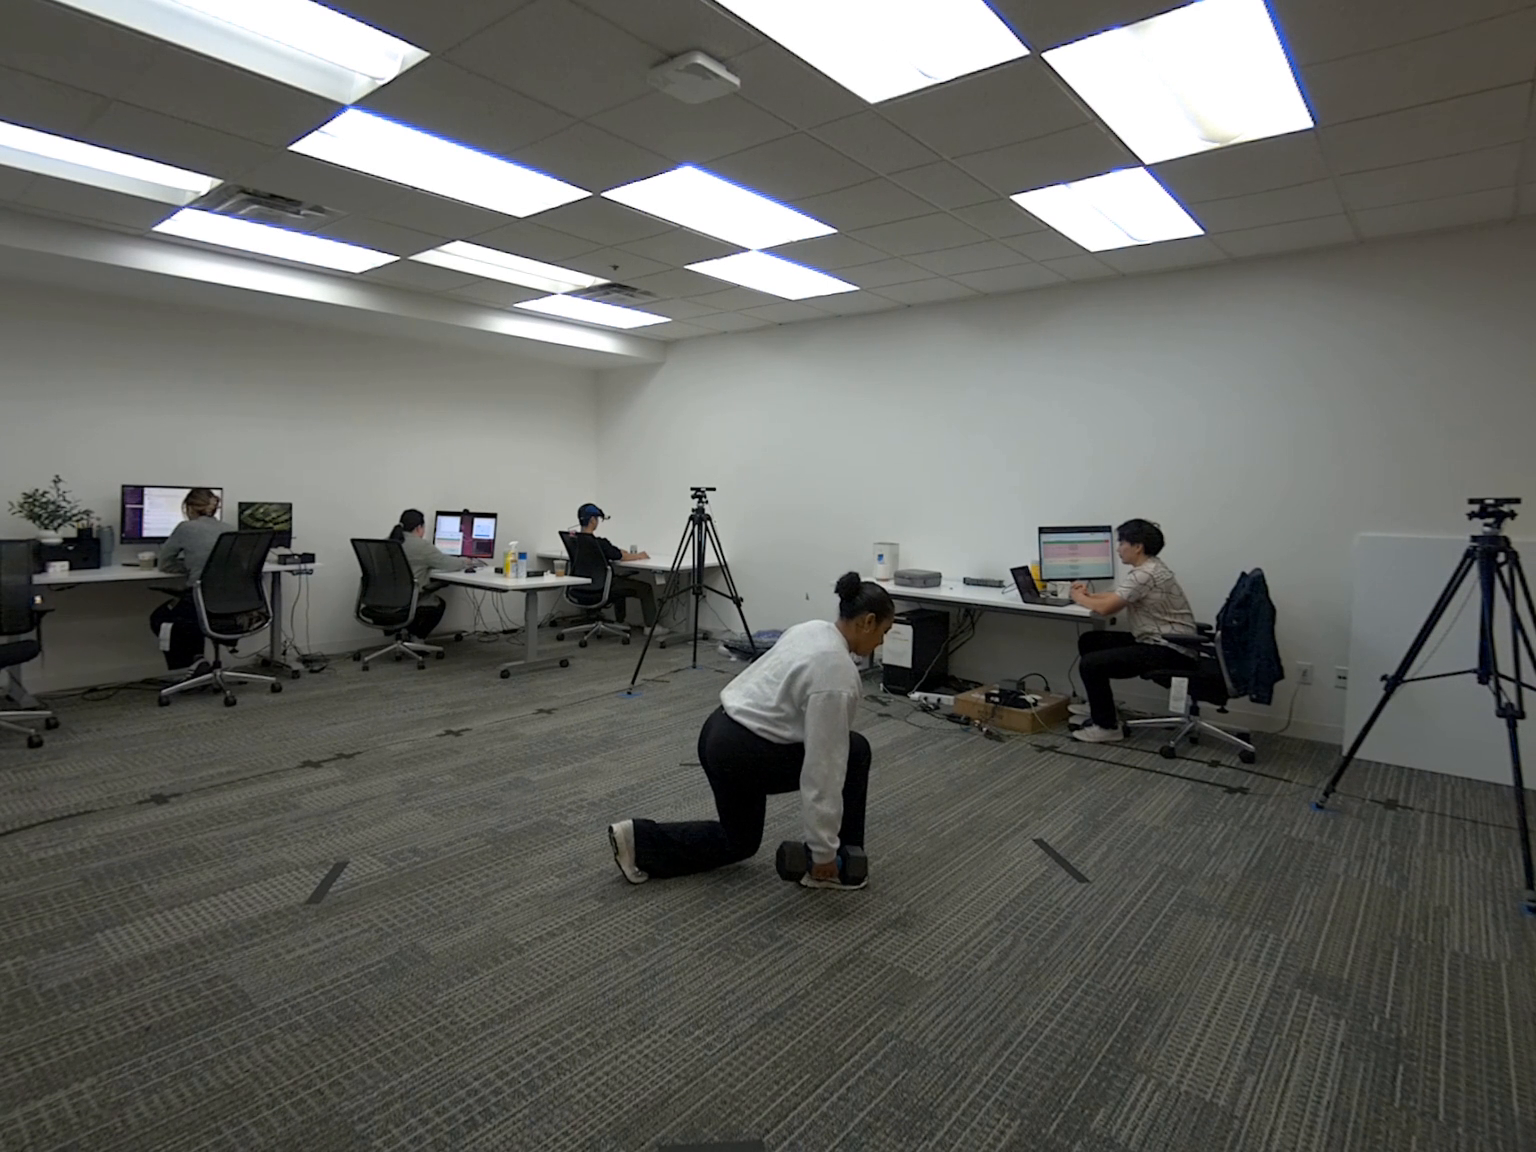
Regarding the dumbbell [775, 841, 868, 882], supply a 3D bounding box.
[{"bbox_3d":[0.172,0.937,2.793,0.288,0.125,0.108,9,-24,-16],"label":"dumbbell"}]
